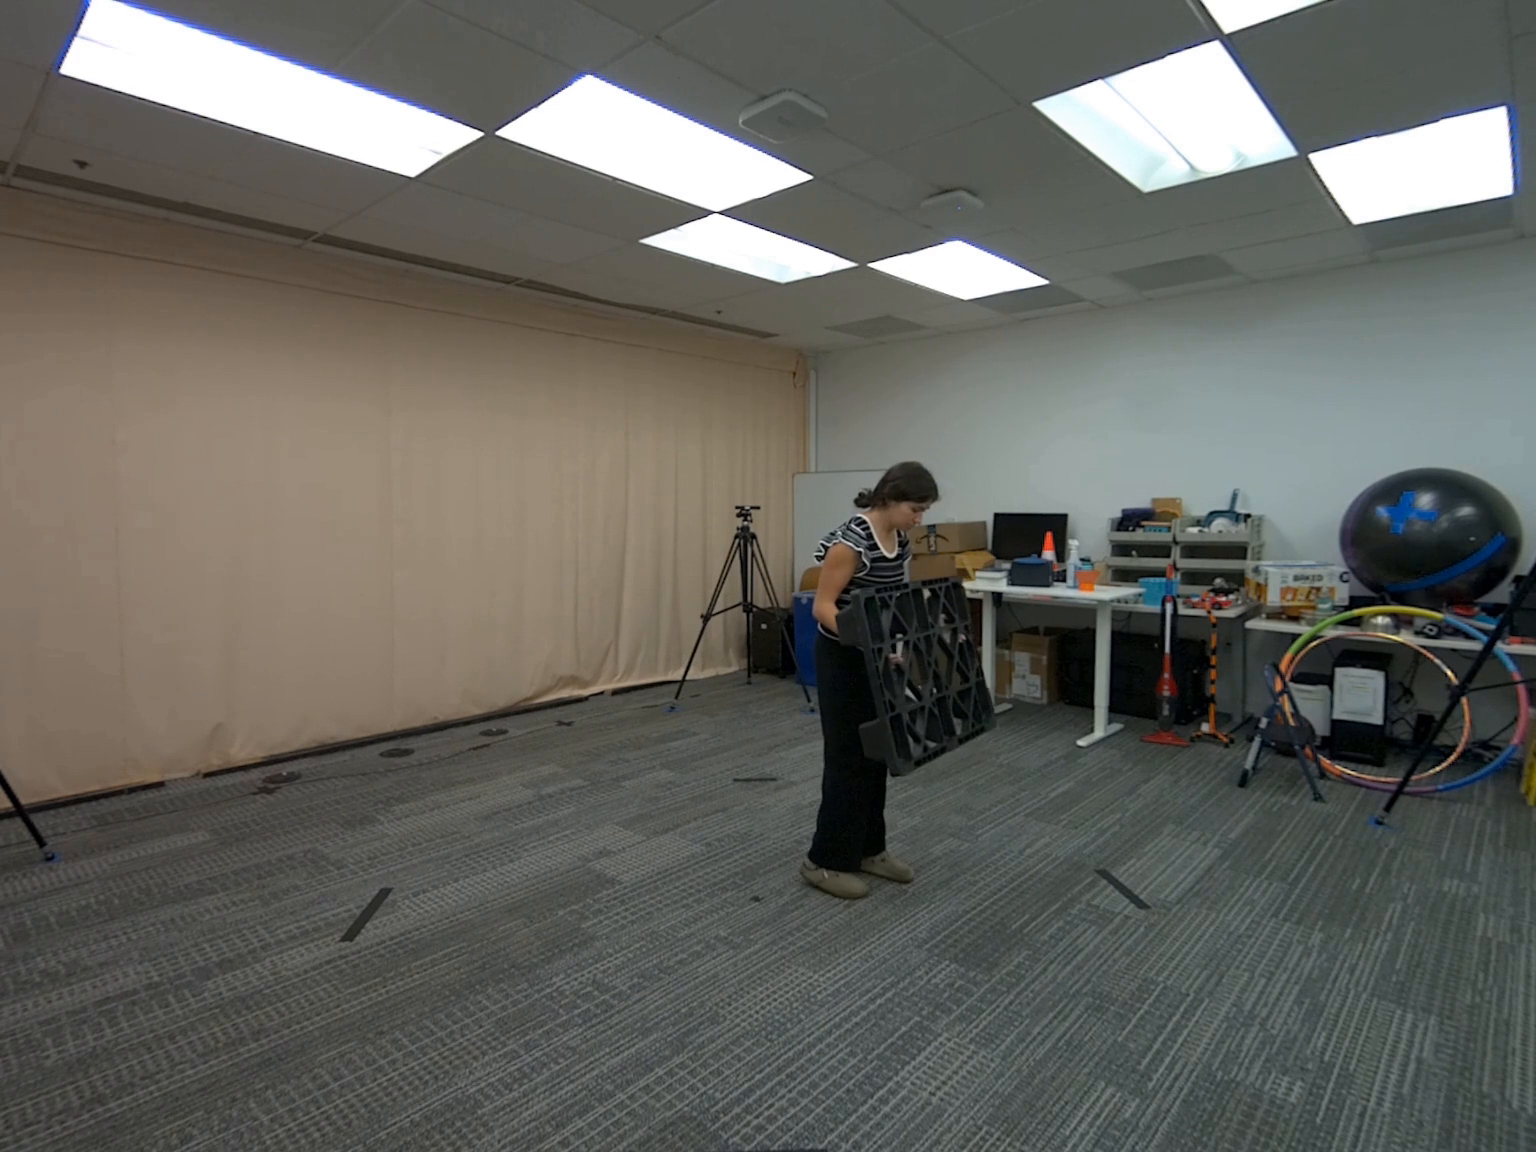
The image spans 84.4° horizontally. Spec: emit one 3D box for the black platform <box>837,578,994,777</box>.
[{"bbox_3d":[0.536,0.329,2.989,0.147,0.608,0.781,-17,-8,36],"label":"black platform"}]
